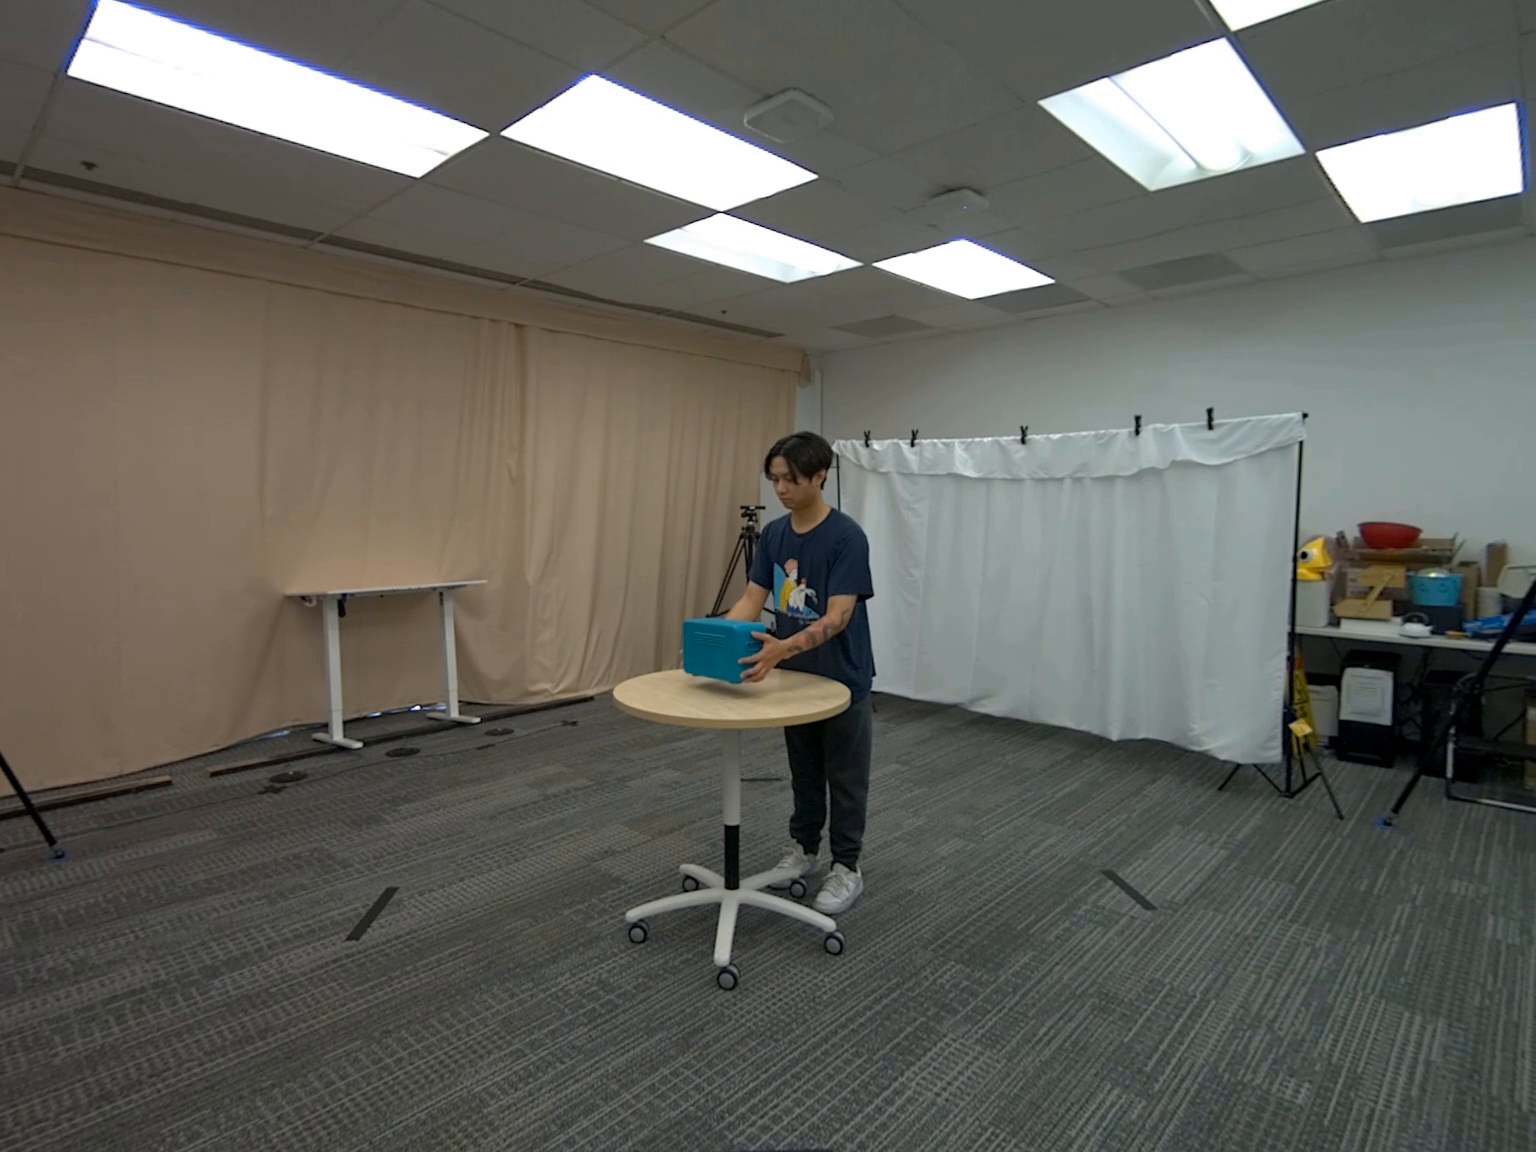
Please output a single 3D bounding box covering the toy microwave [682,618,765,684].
[{"bbox_3d":[-0.132,0.239,2.710,0.148,0.184,0.295,-2,3,-41],"label":"toy microwave"}]
